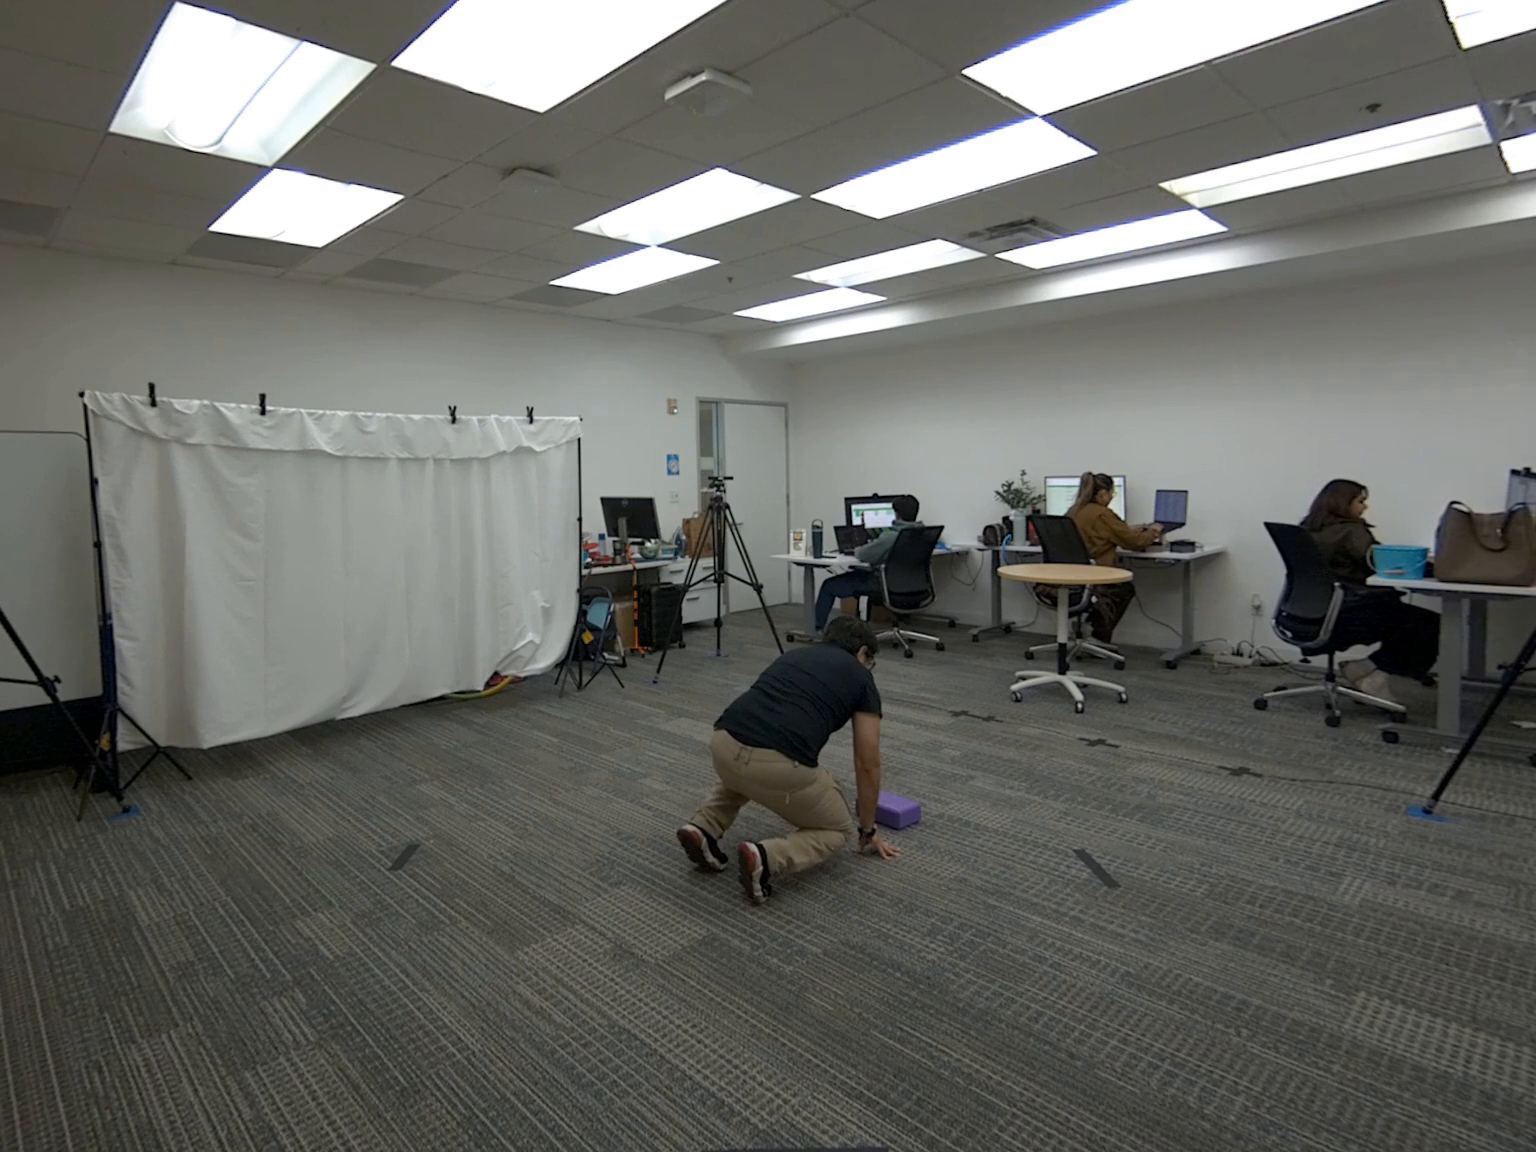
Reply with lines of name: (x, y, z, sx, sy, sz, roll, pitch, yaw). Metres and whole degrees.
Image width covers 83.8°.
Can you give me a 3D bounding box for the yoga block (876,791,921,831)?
yoga block: (0.485, 0.942, 3.466, 0.145, 0.076, 0.236, -5, 7, -42)
